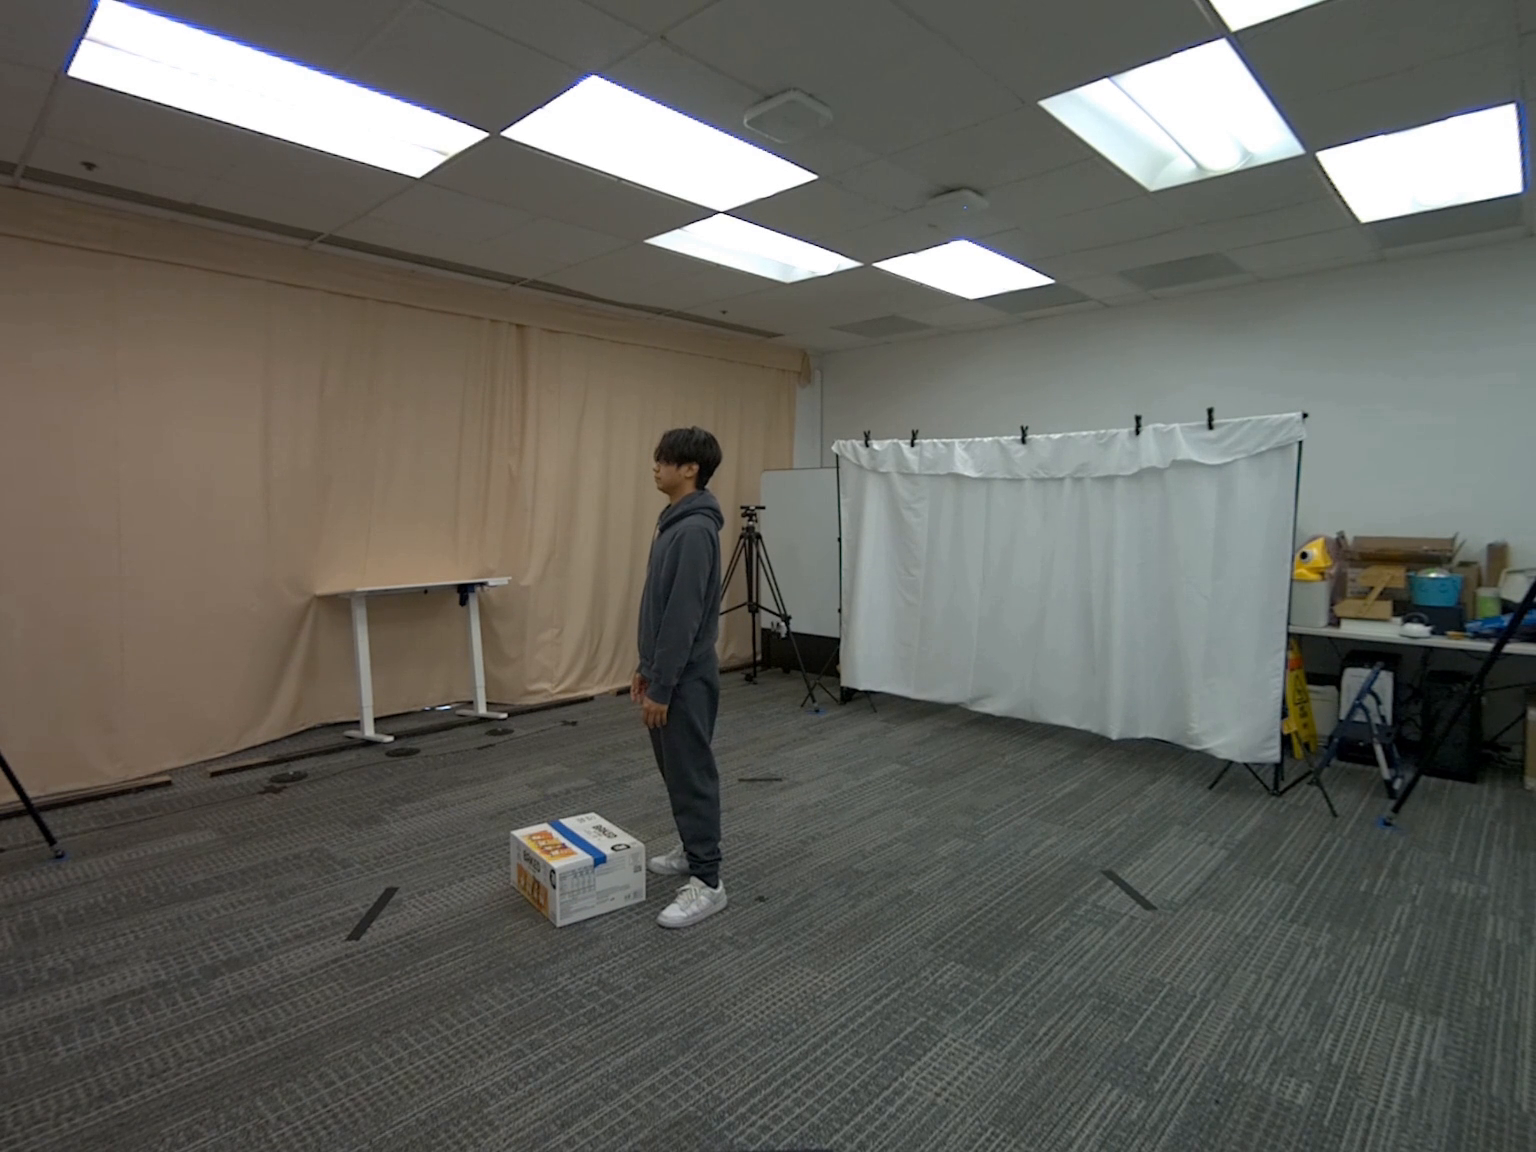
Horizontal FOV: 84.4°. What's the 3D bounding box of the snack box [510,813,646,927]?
[{"bbox_3d":[-0.688,1.040,3.033,0.330,0.205,0.418,-3,5,-37],"label":"snack box"}]
